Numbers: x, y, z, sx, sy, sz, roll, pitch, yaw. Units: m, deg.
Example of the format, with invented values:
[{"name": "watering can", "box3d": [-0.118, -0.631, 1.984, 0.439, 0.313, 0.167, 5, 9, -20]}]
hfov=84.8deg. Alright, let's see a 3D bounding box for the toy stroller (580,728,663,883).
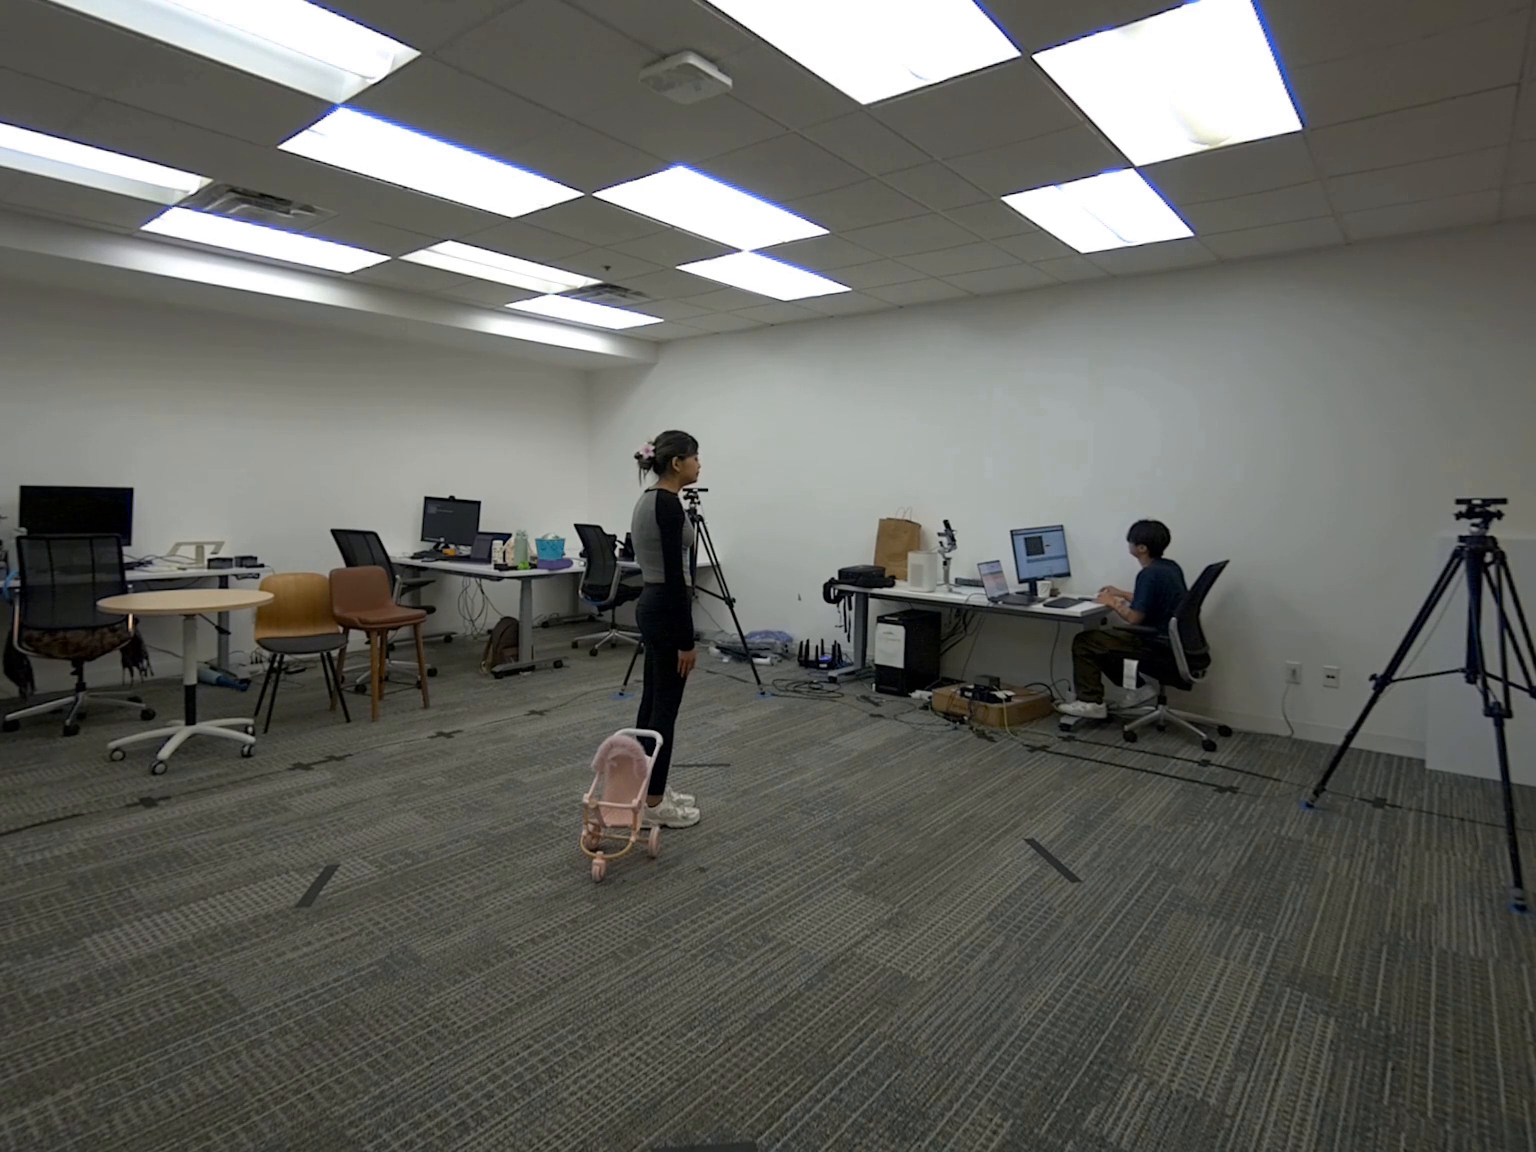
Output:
[{"name": "toy stroller", "box3d": [-0.571, 0.834, 3.171, 0.287, 0.541, 0.331, 2, -13, 16]}]
